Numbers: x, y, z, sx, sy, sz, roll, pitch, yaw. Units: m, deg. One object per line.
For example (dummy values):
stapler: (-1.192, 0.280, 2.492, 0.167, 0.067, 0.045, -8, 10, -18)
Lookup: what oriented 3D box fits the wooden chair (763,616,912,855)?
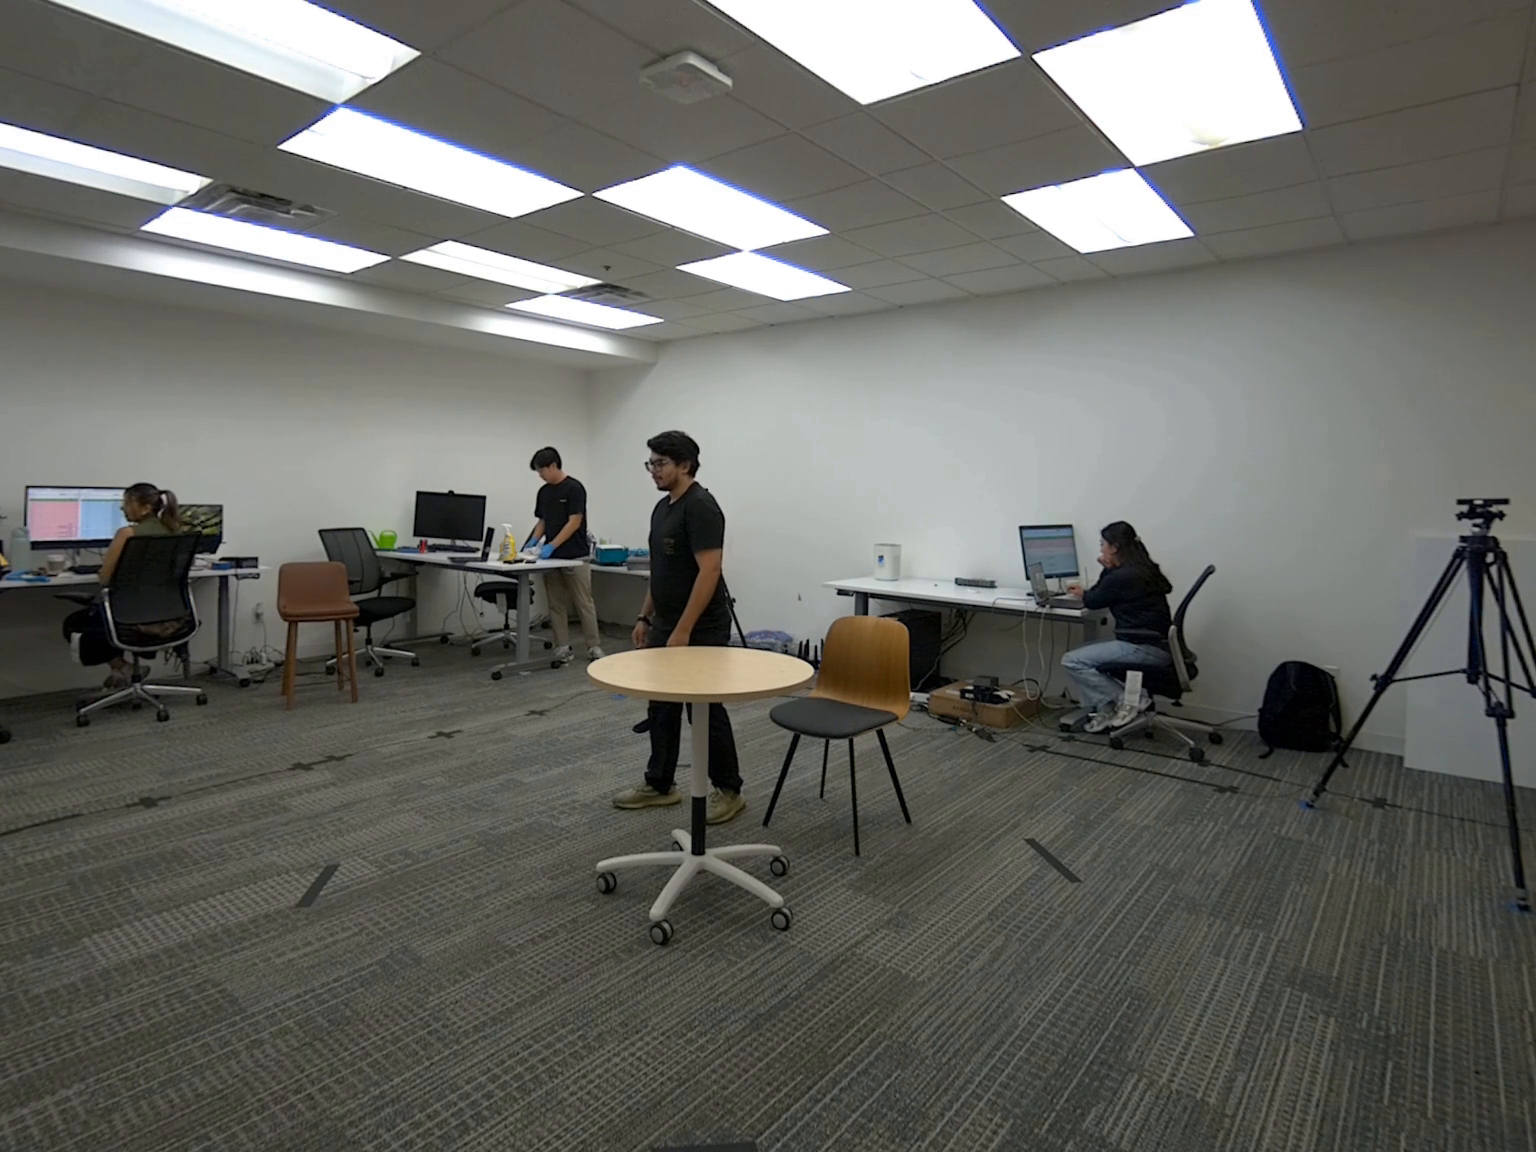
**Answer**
wooden chair: (0.290, 0.609, 3.526, 0.494, 0.877, 0.506, 4, 0, 37)
